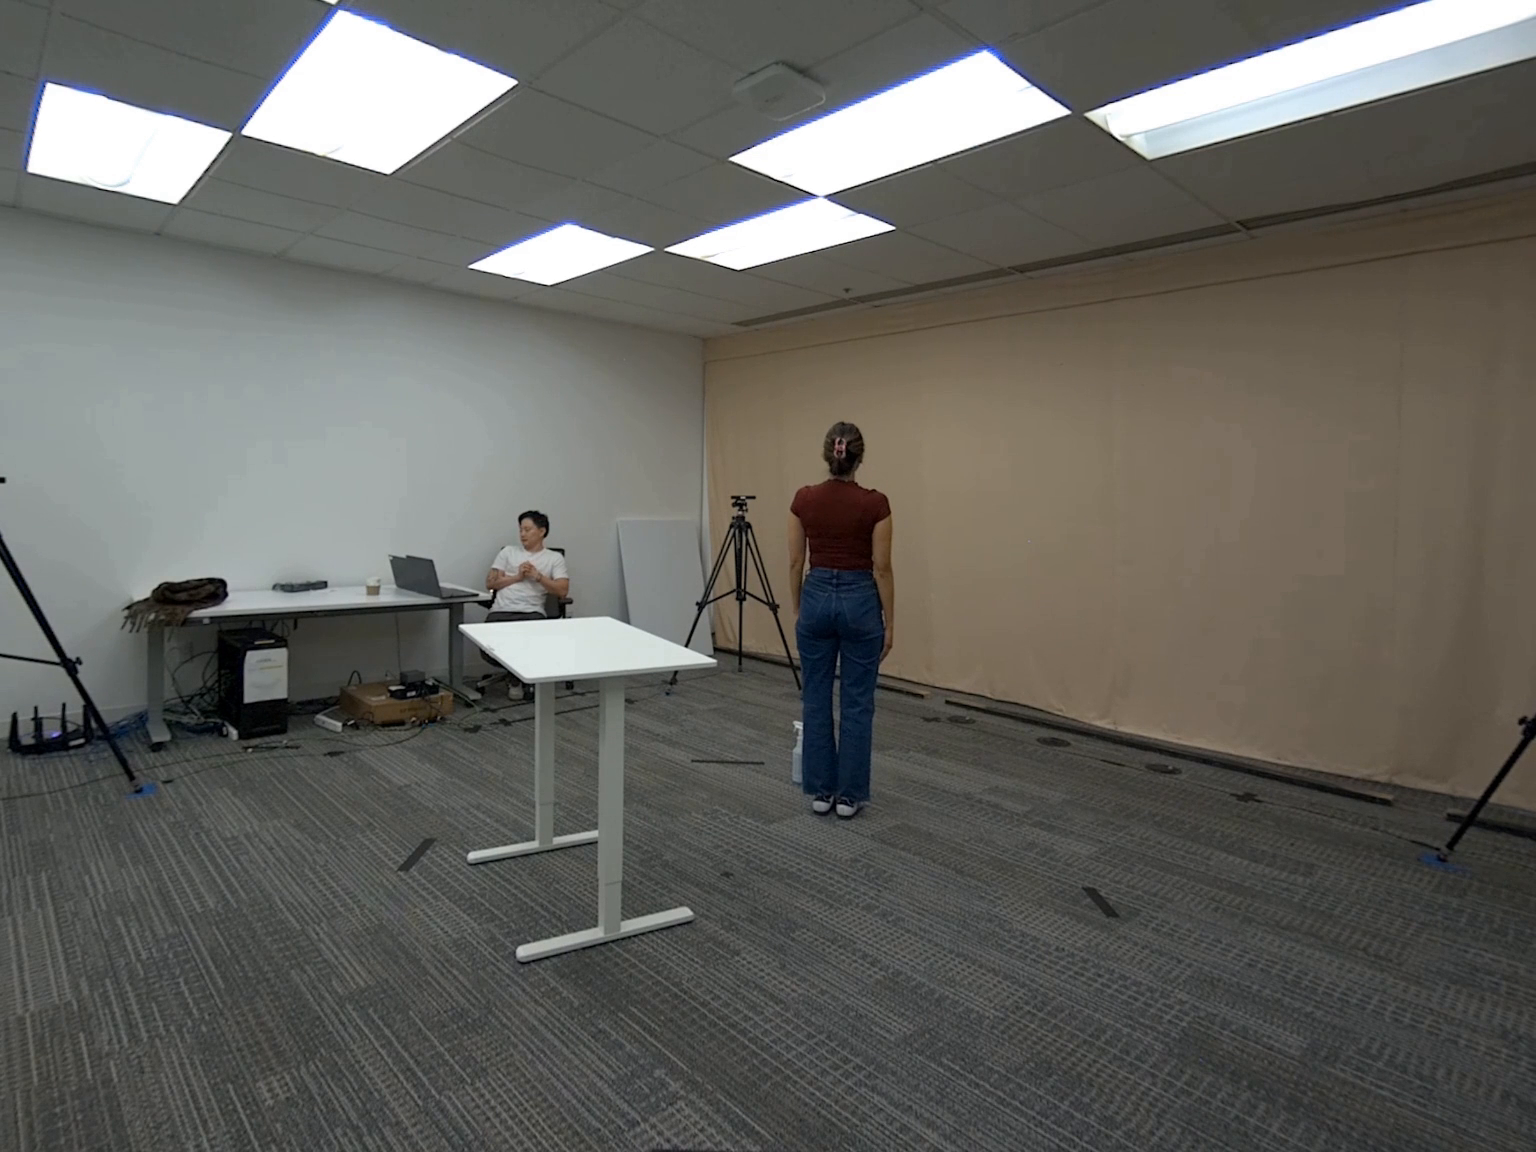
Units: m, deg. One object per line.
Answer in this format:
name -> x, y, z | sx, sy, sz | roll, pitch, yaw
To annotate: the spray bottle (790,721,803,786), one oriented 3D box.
spray bottle -> 0.152, 0.871, 4.152 | 0.085, 0.296, 0.092 | 0, 4, -25
